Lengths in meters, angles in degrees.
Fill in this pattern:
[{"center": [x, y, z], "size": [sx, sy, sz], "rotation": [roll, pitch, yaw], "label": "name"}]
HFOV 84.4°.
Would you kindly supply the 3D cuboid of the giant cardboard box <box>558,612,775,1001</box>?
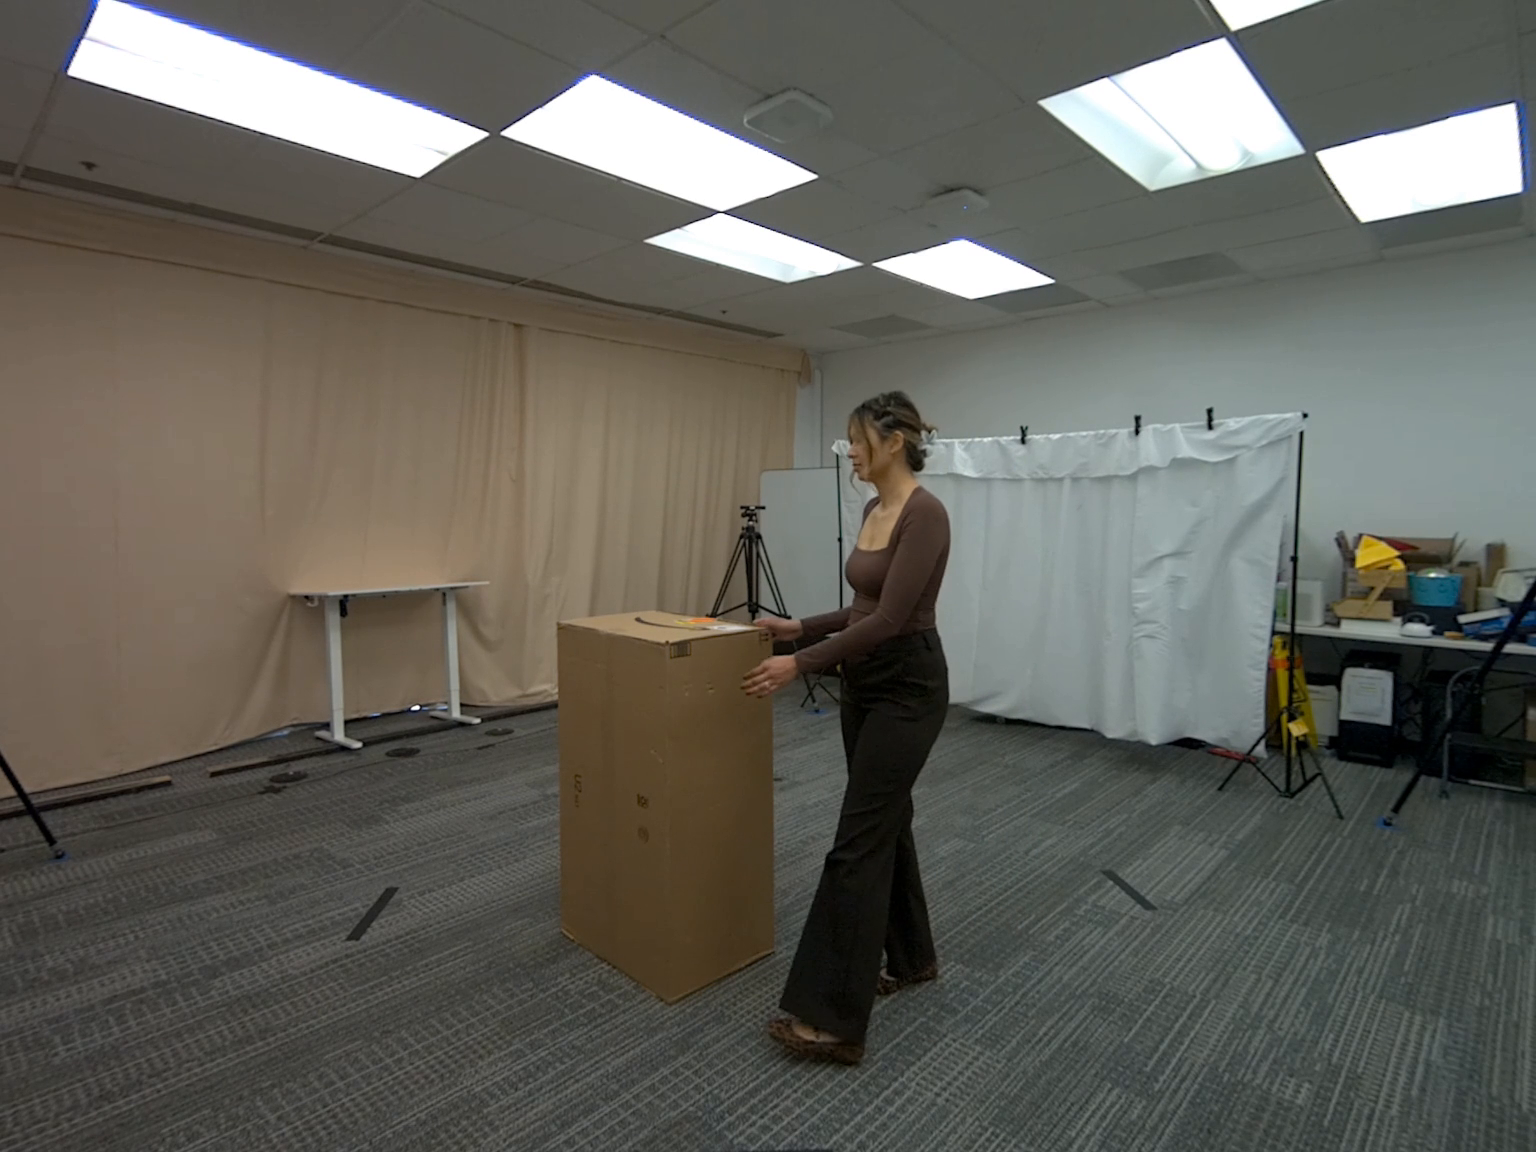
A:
[{"center": [-0.330, 0.663, 2.678], "size": [0.433, 1.025, 0.603], "rotation": [-2, 4, -42], "label": "giant cardboard box"}]
